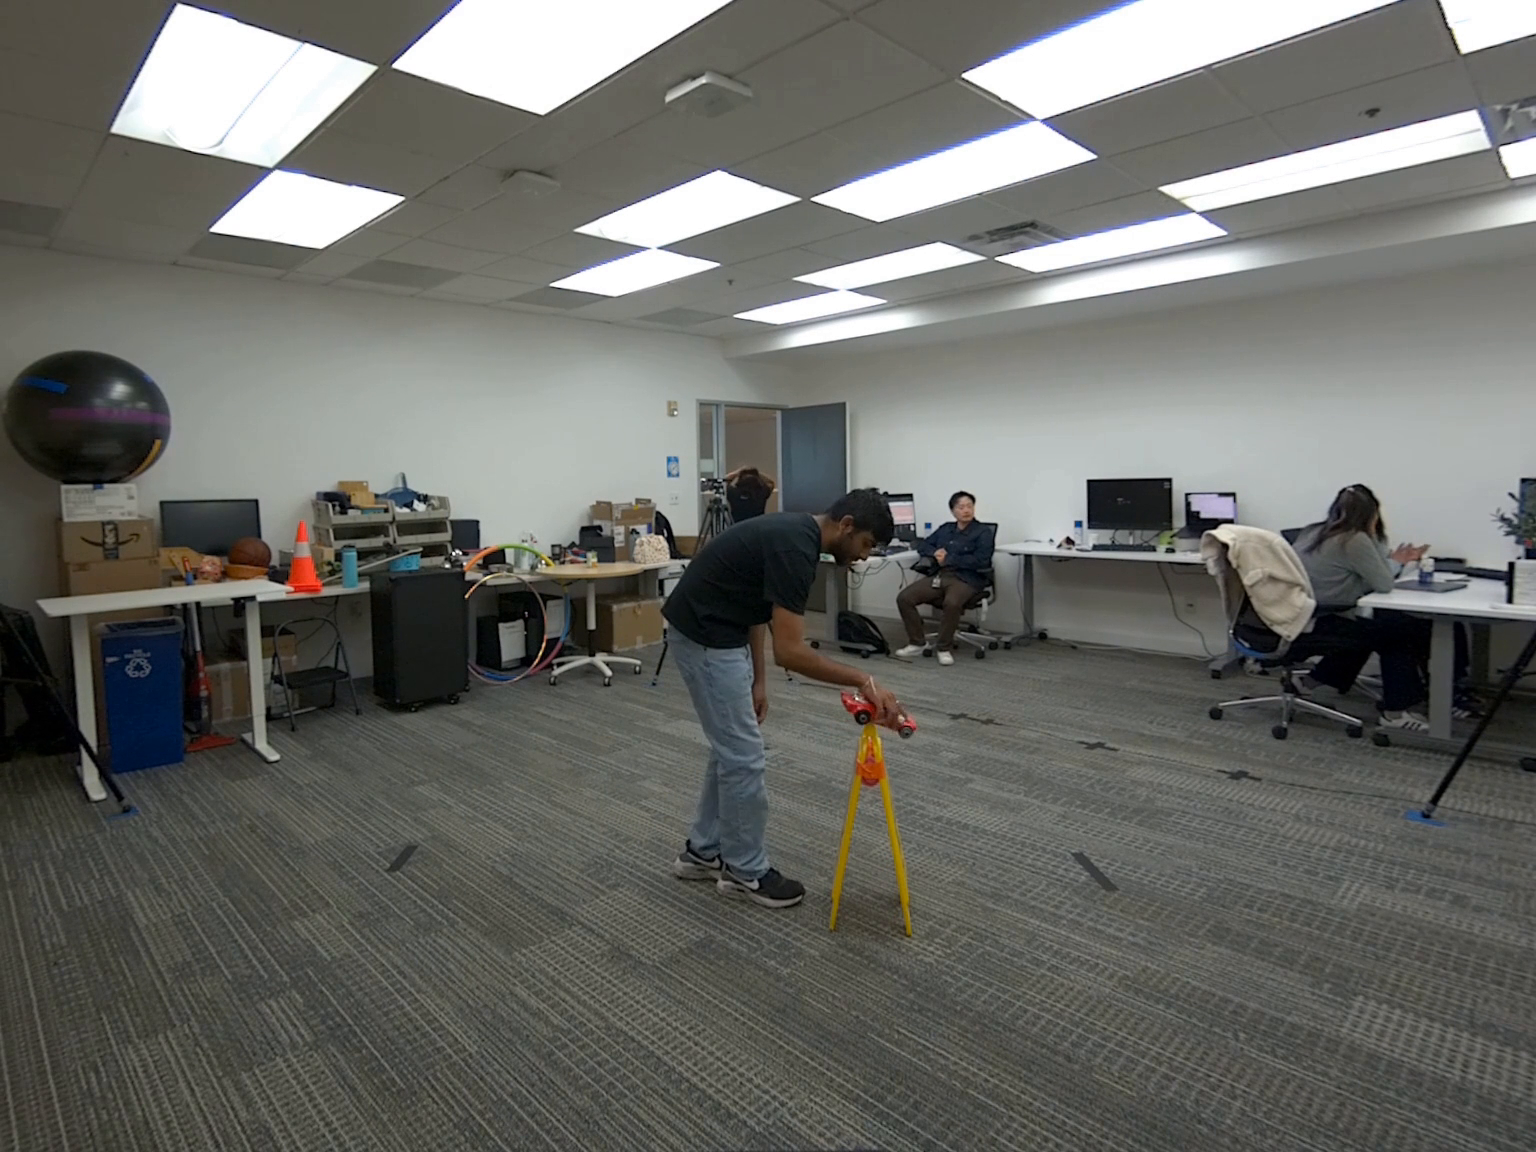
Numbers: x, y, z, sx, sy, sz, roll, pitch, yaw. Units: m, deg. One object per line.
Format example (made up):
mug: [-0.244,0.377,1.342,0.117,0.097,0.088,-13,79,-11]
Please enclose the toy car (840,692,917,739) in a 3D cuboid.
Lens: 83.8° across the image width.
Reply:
toy car: [0.332,0.426,2.641,0.251,0.083,0.132,31,9,-12]
